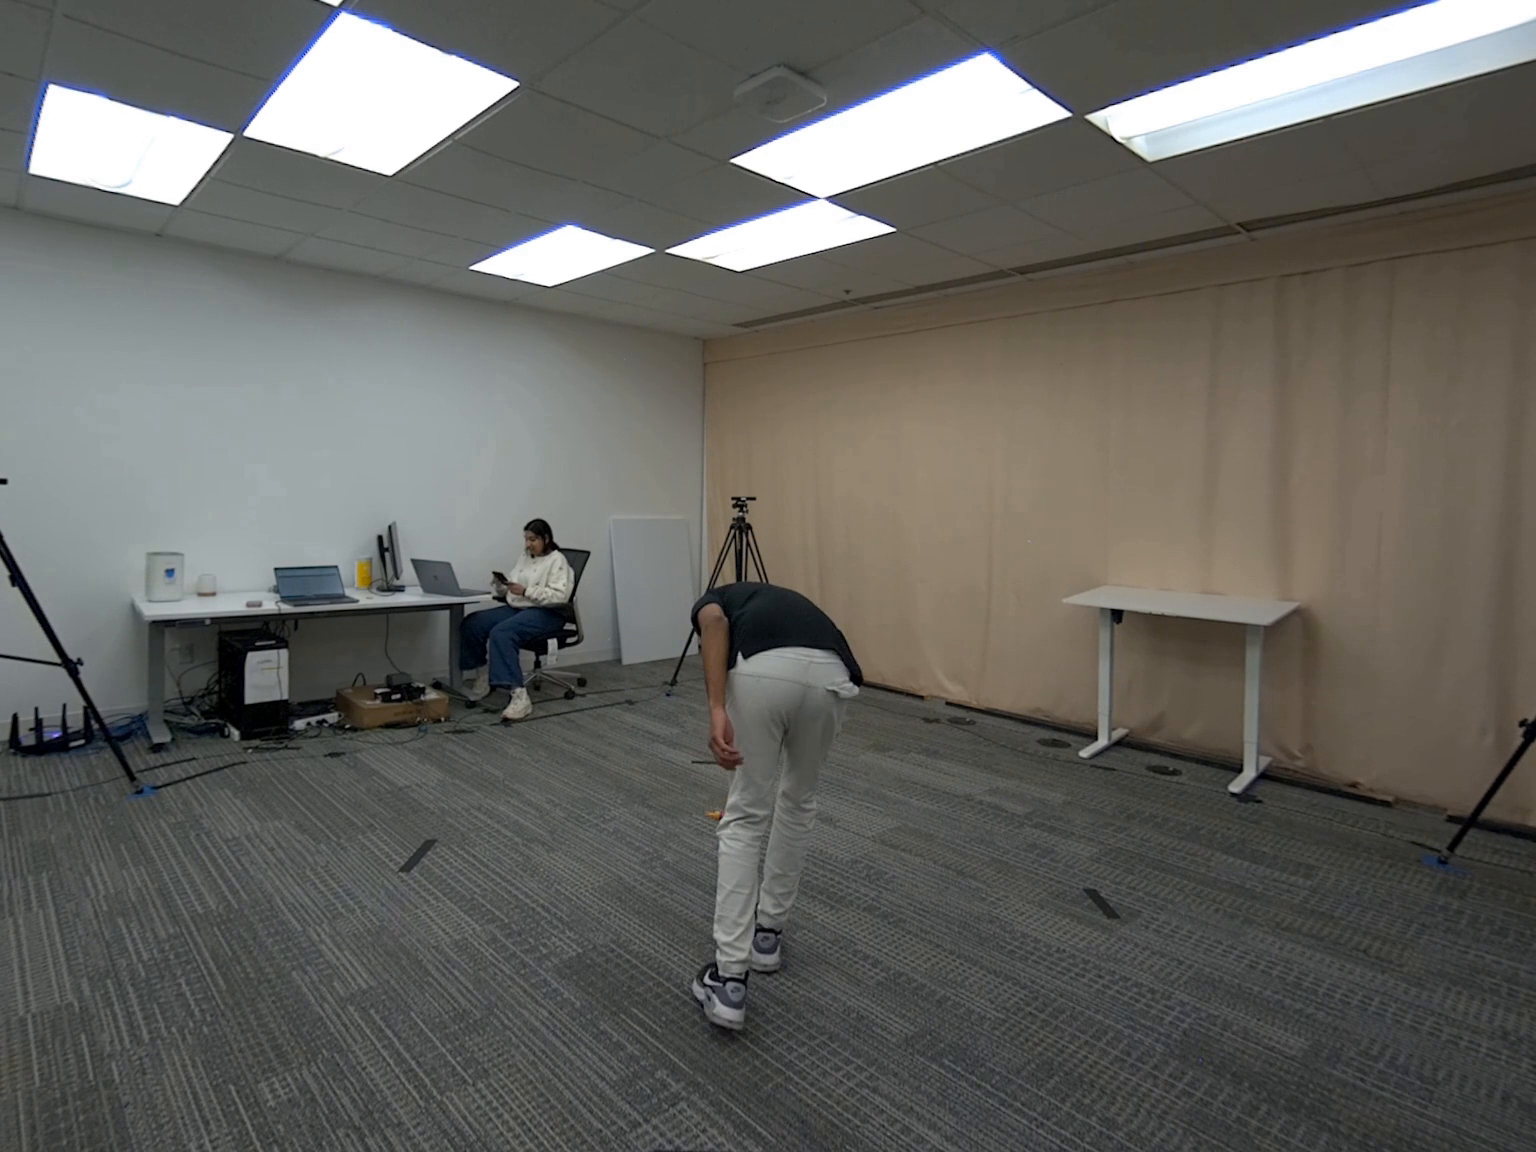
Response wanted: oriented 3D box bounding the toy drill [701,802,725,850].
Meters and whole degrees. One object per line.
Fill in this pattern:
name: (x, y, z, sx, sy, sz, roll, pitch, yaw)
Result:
toy drill: (-0.149, 0.917, 3.081, 0.170, 0.145, 0.061, 8, 4, 4)
